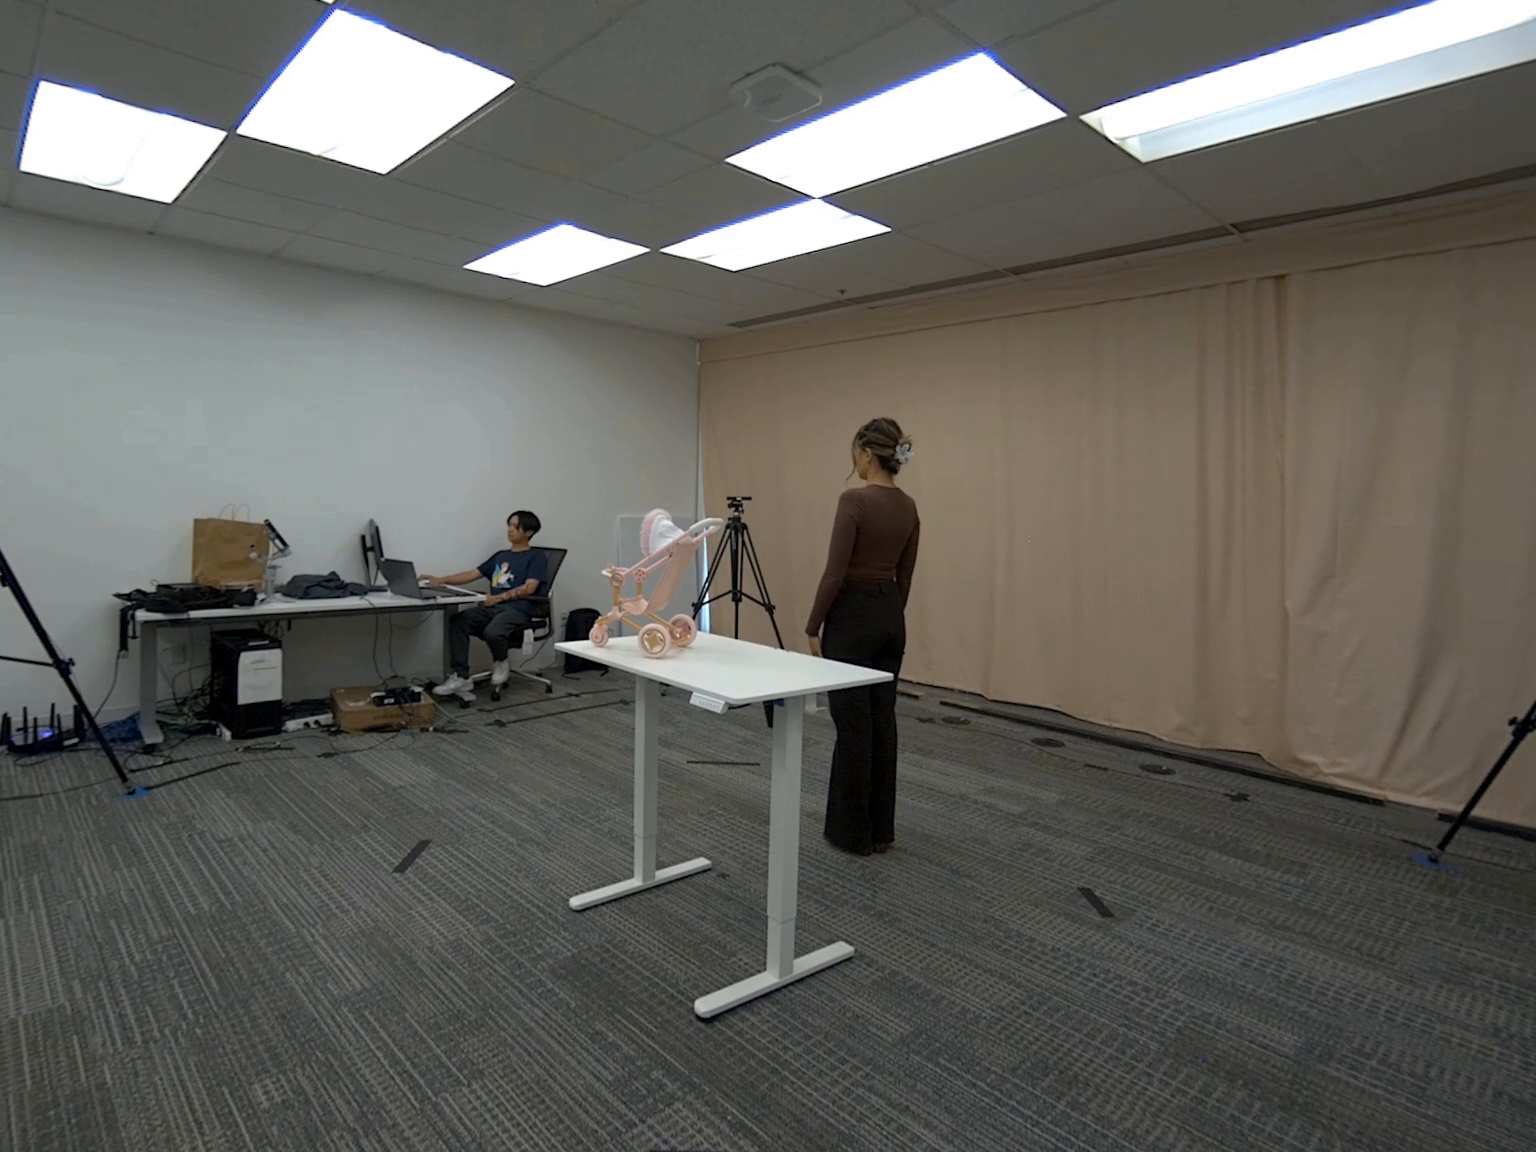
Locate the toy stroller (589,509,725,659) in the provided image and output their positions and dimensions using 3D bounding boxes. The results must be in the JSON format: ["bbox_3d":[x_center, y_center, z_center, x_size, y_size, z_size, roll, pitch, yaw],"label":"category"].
[{"bbox_3d":[-0.393,0.025,2.773,0.348,0.533,0.277,18,8,20],"label":"toy stroller"}]
